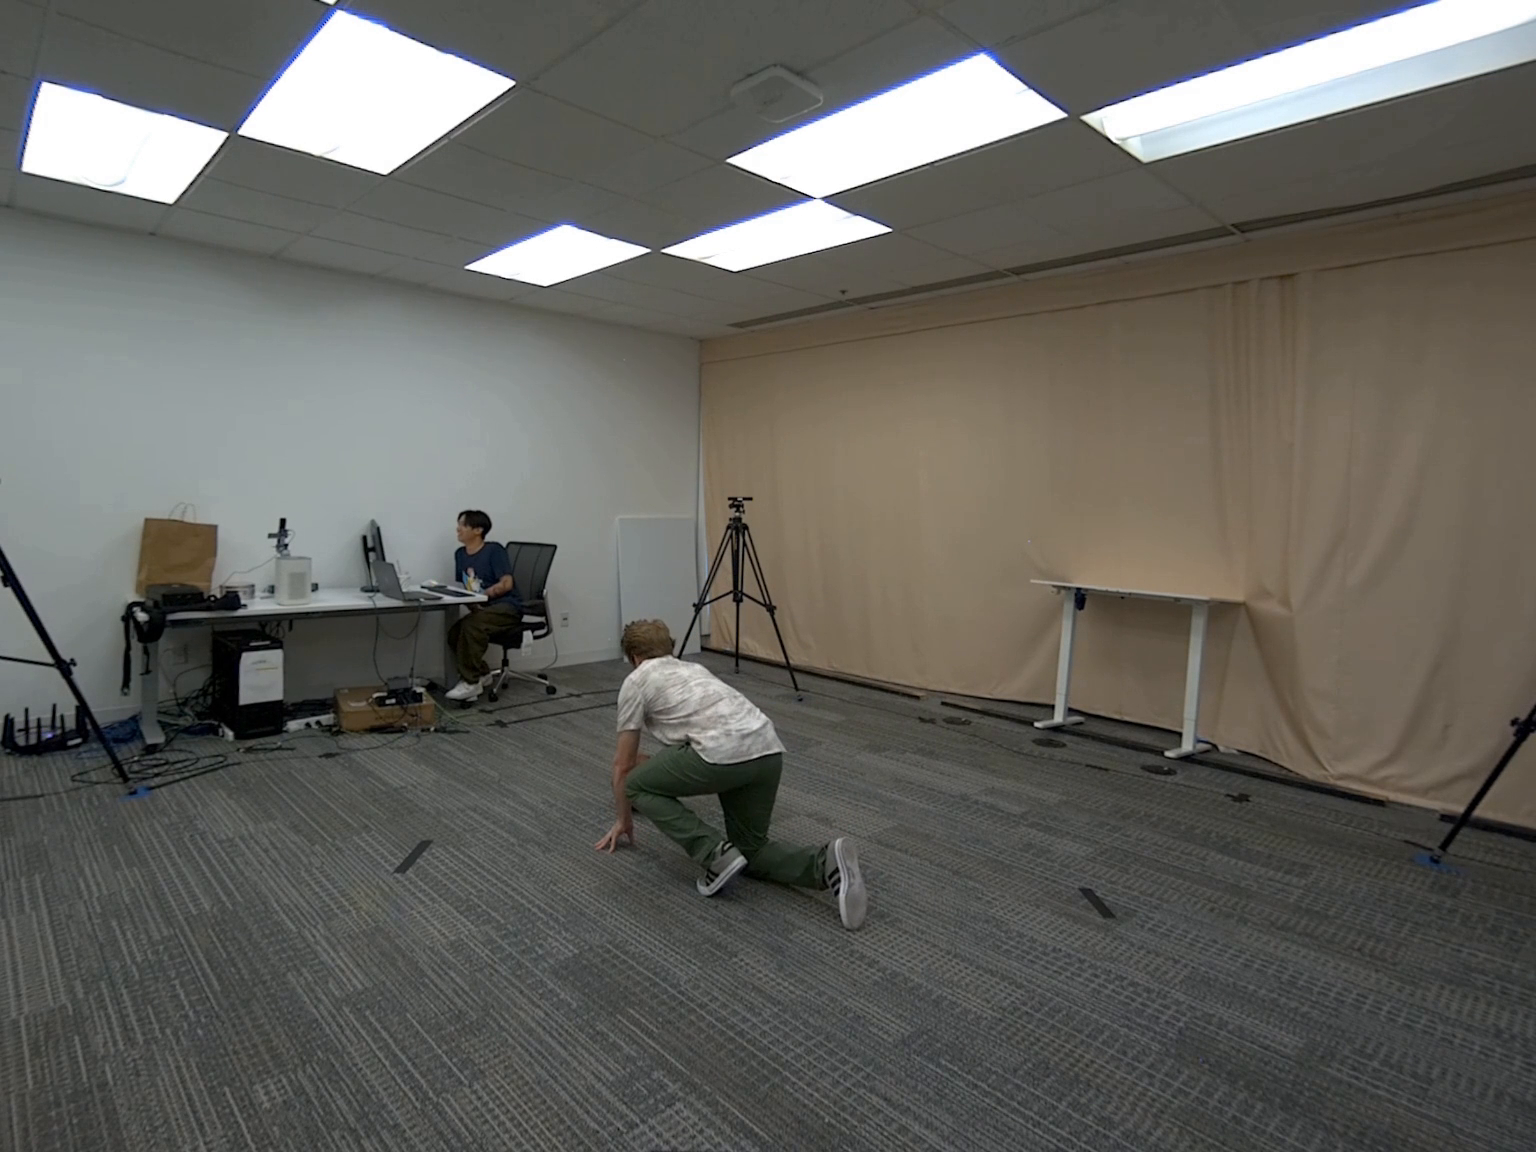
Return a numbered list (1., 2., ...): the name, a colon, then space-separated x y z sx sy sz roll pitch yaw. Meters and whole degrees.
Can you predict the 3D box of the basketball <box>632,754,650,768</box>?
1. basketball: -0.586 0.917 3.767 0.236 0.235 0.237 1 4 -1
